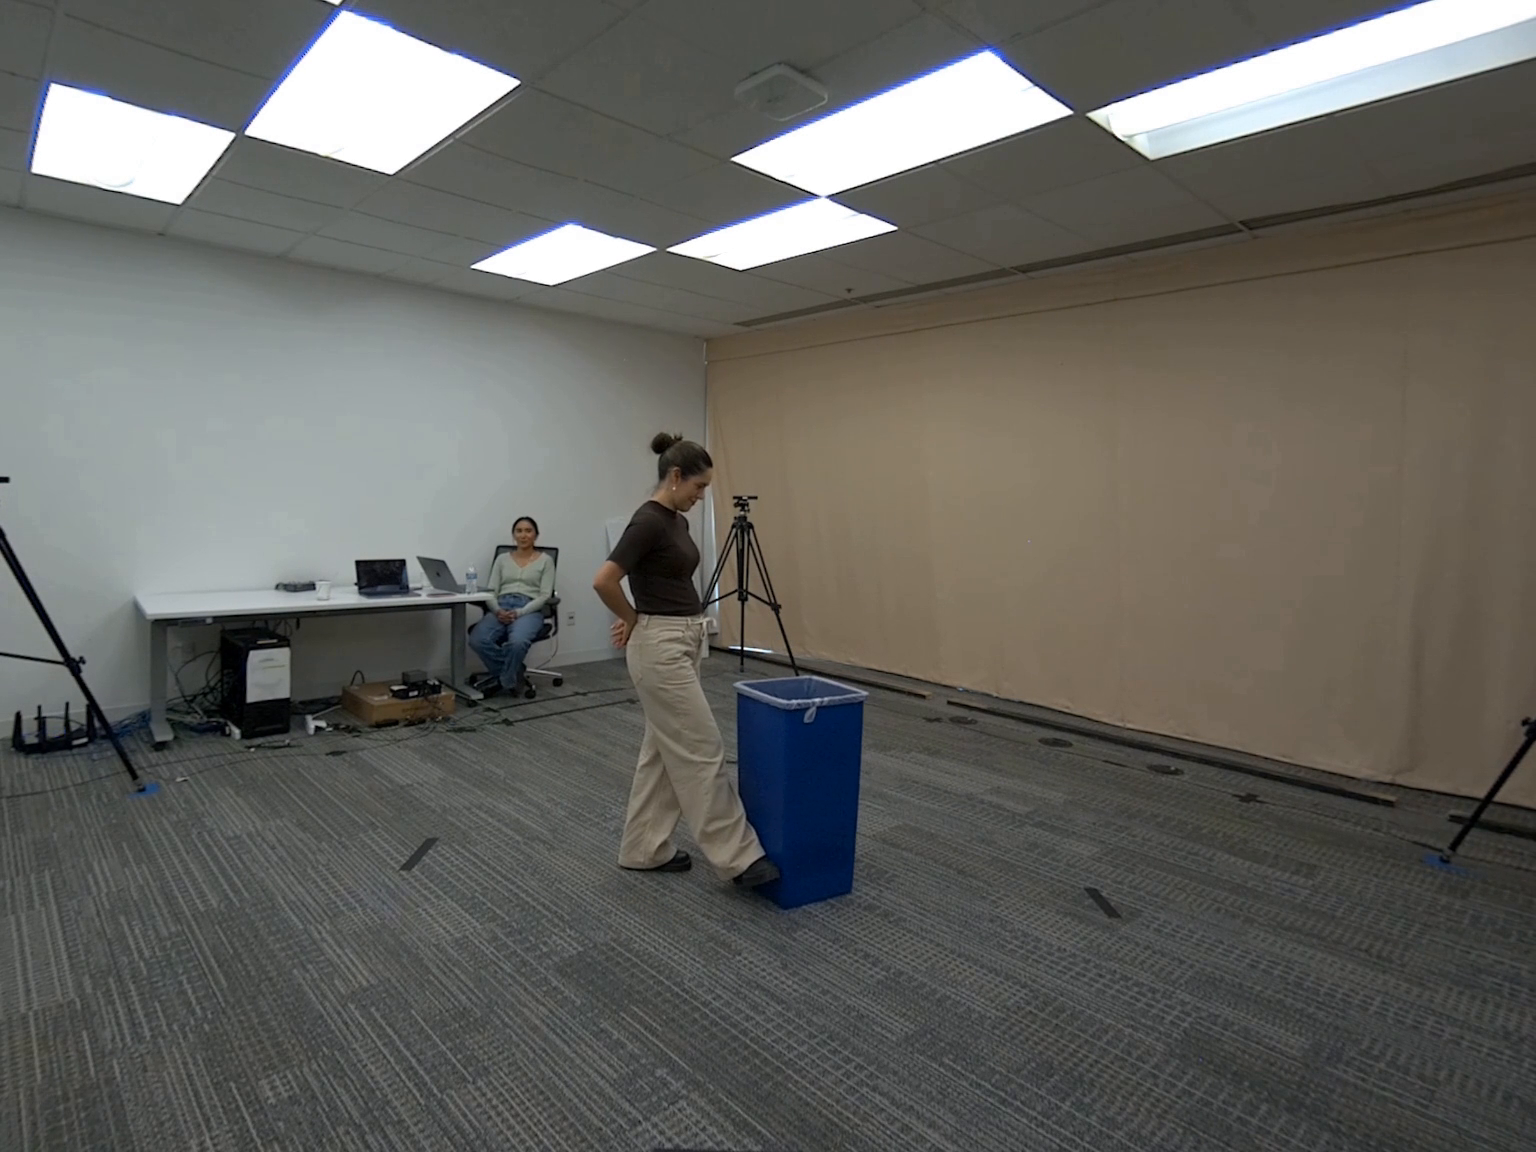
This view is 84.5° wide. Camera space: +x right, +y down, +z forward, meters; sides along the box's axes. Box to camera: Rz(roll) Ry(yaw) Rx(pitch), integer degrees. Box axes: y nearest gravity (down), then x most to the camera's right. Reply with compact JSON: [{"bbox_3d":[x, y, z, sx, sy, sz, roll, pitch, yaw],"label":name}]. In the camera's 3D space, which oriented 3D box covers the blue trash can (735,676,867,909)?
[{"bbox_3d":[0.098,0.755,3.028,0.366,0.712,0.387,-1,3,-32],"label":"blue trash can"}]
